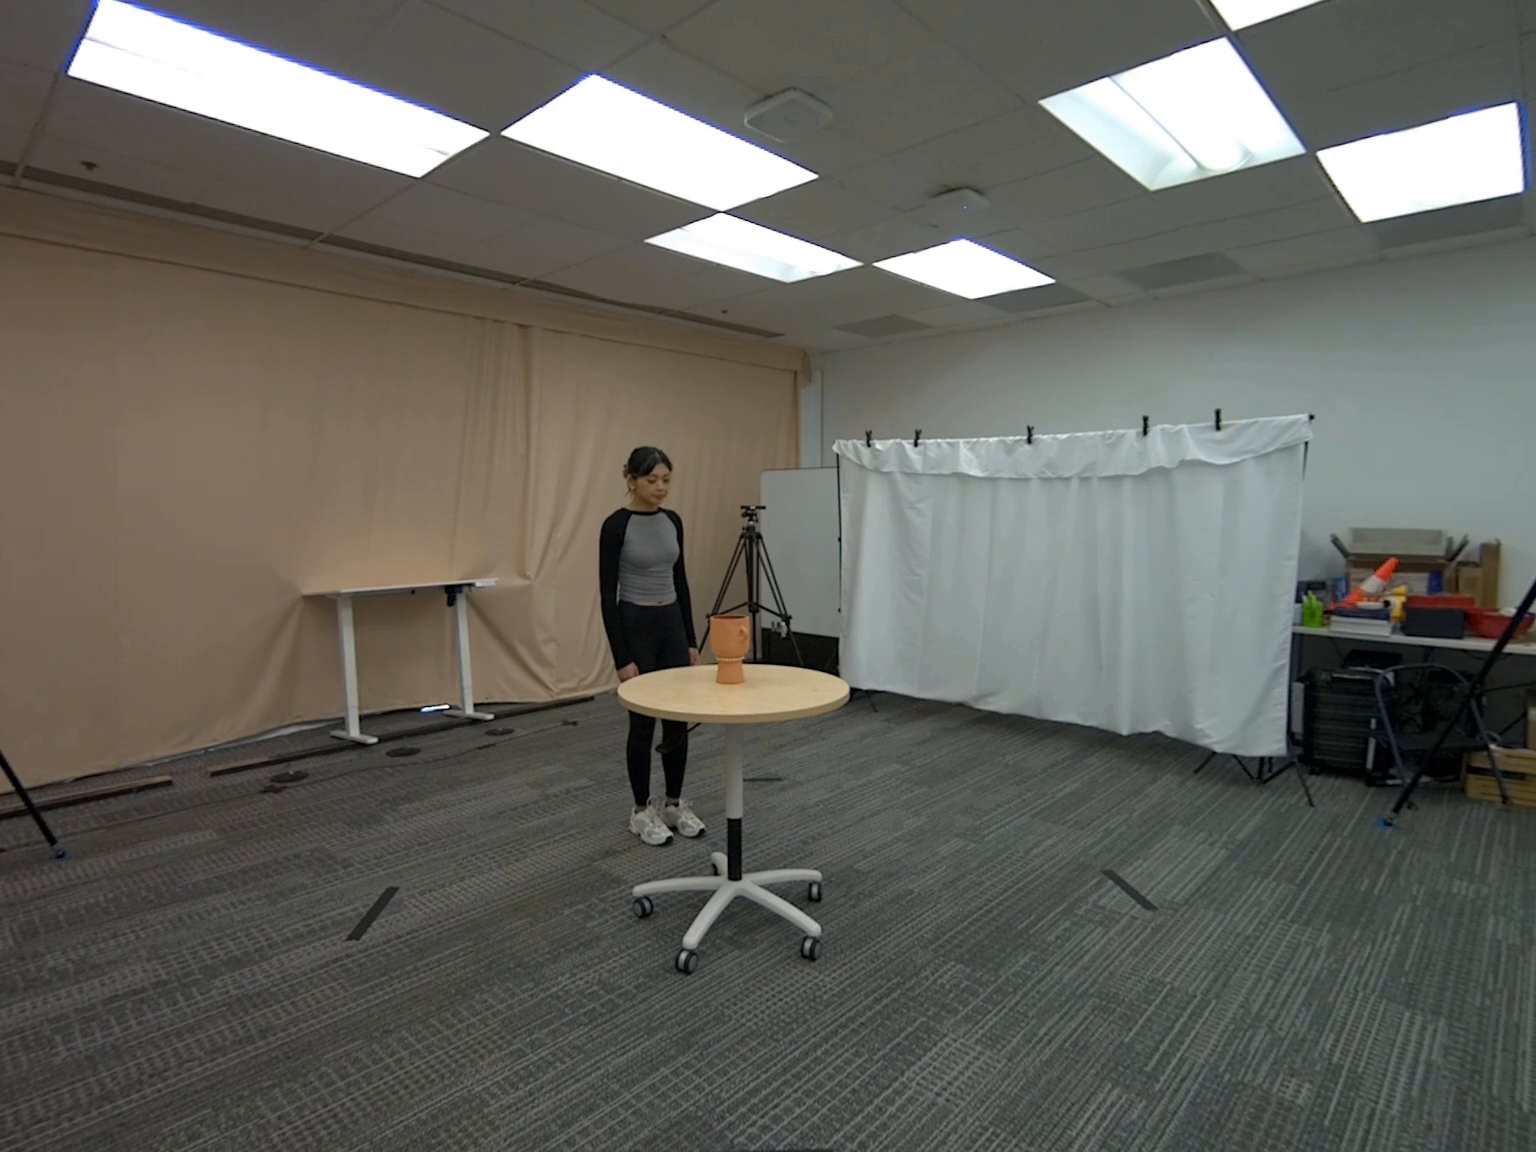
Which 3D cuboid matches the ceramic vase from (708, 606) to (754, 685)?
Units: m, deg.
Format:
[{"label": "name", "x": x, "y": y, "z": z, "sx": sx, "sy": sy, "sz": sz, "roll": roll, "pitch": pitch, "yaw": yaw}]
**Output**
[{"label": "ceramic vase", "x": -0.122, "y": 0.251, "z": 2.868, "sx": 0.135, "sy": 0.219, "sz": 0.158, "roll": 1, "pitch": 4, "yaw": 2}]
